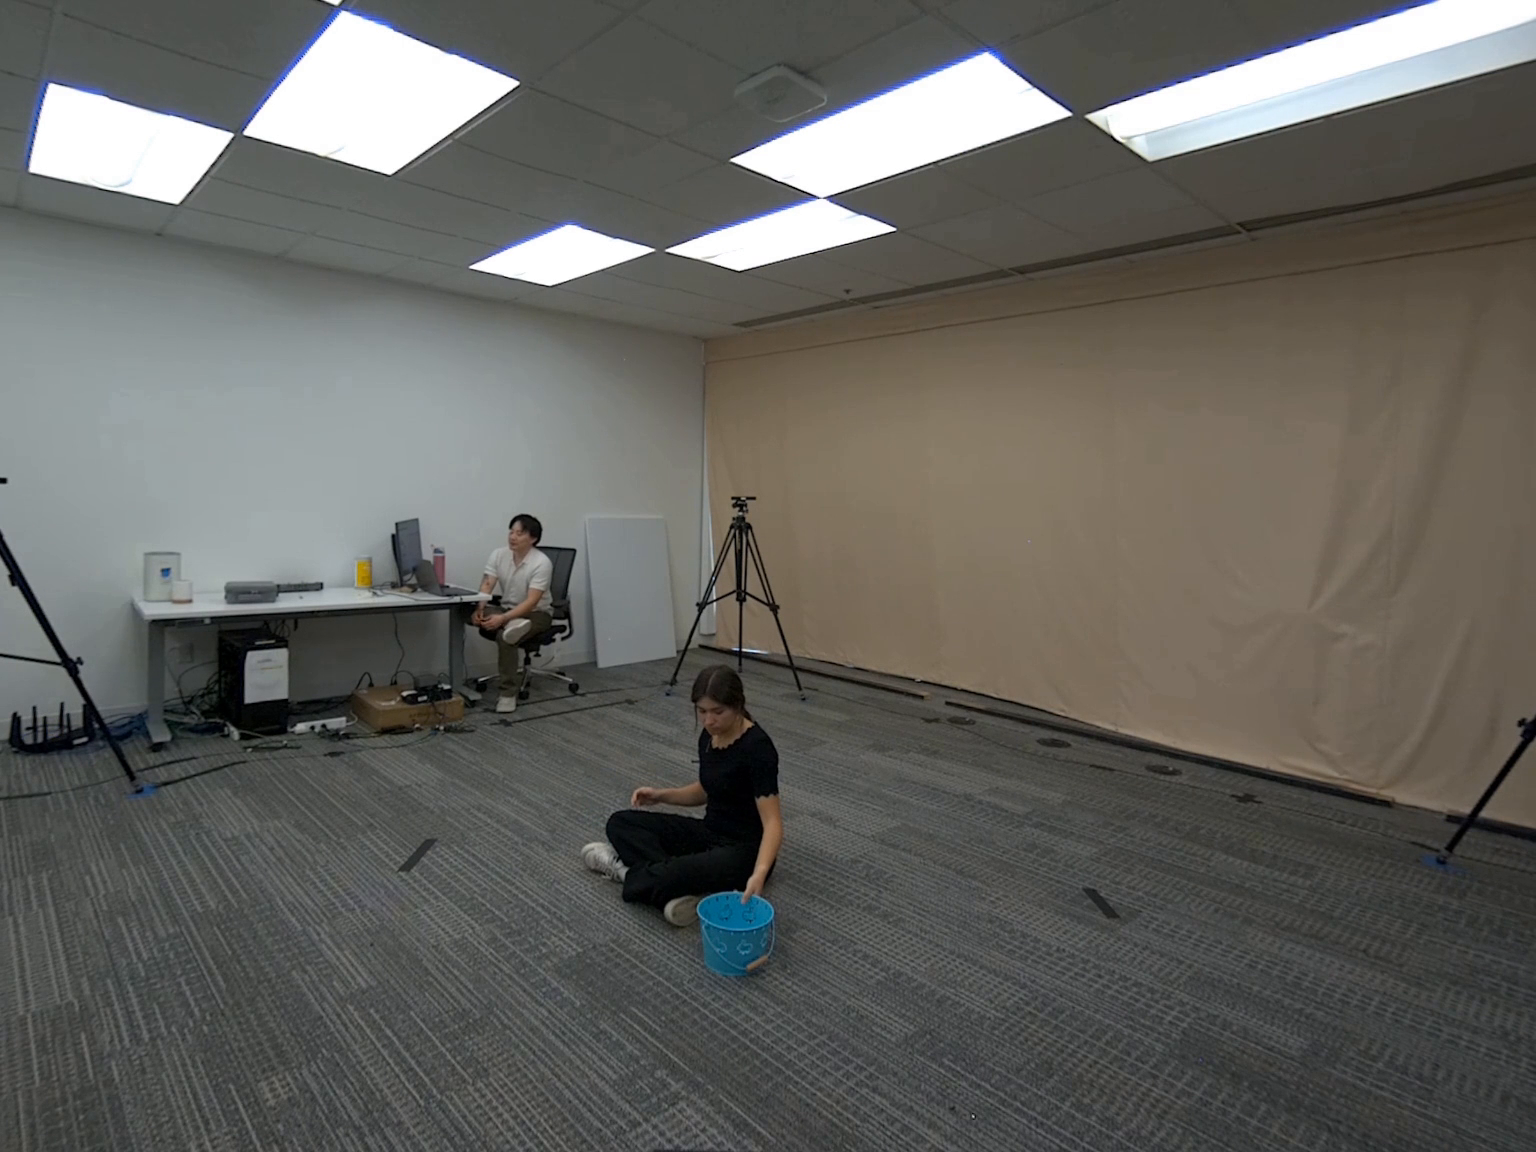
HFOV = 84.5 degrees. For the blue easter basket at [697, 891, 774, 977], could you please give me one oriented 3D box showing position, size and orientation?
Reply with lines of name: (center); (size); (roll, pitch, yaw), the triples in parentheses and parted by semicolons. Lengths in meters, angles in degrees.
blue easter basket: (-0.111, 1.082, 2.528); (0.243, 0.155, 0.244); (1, 5, -1)
